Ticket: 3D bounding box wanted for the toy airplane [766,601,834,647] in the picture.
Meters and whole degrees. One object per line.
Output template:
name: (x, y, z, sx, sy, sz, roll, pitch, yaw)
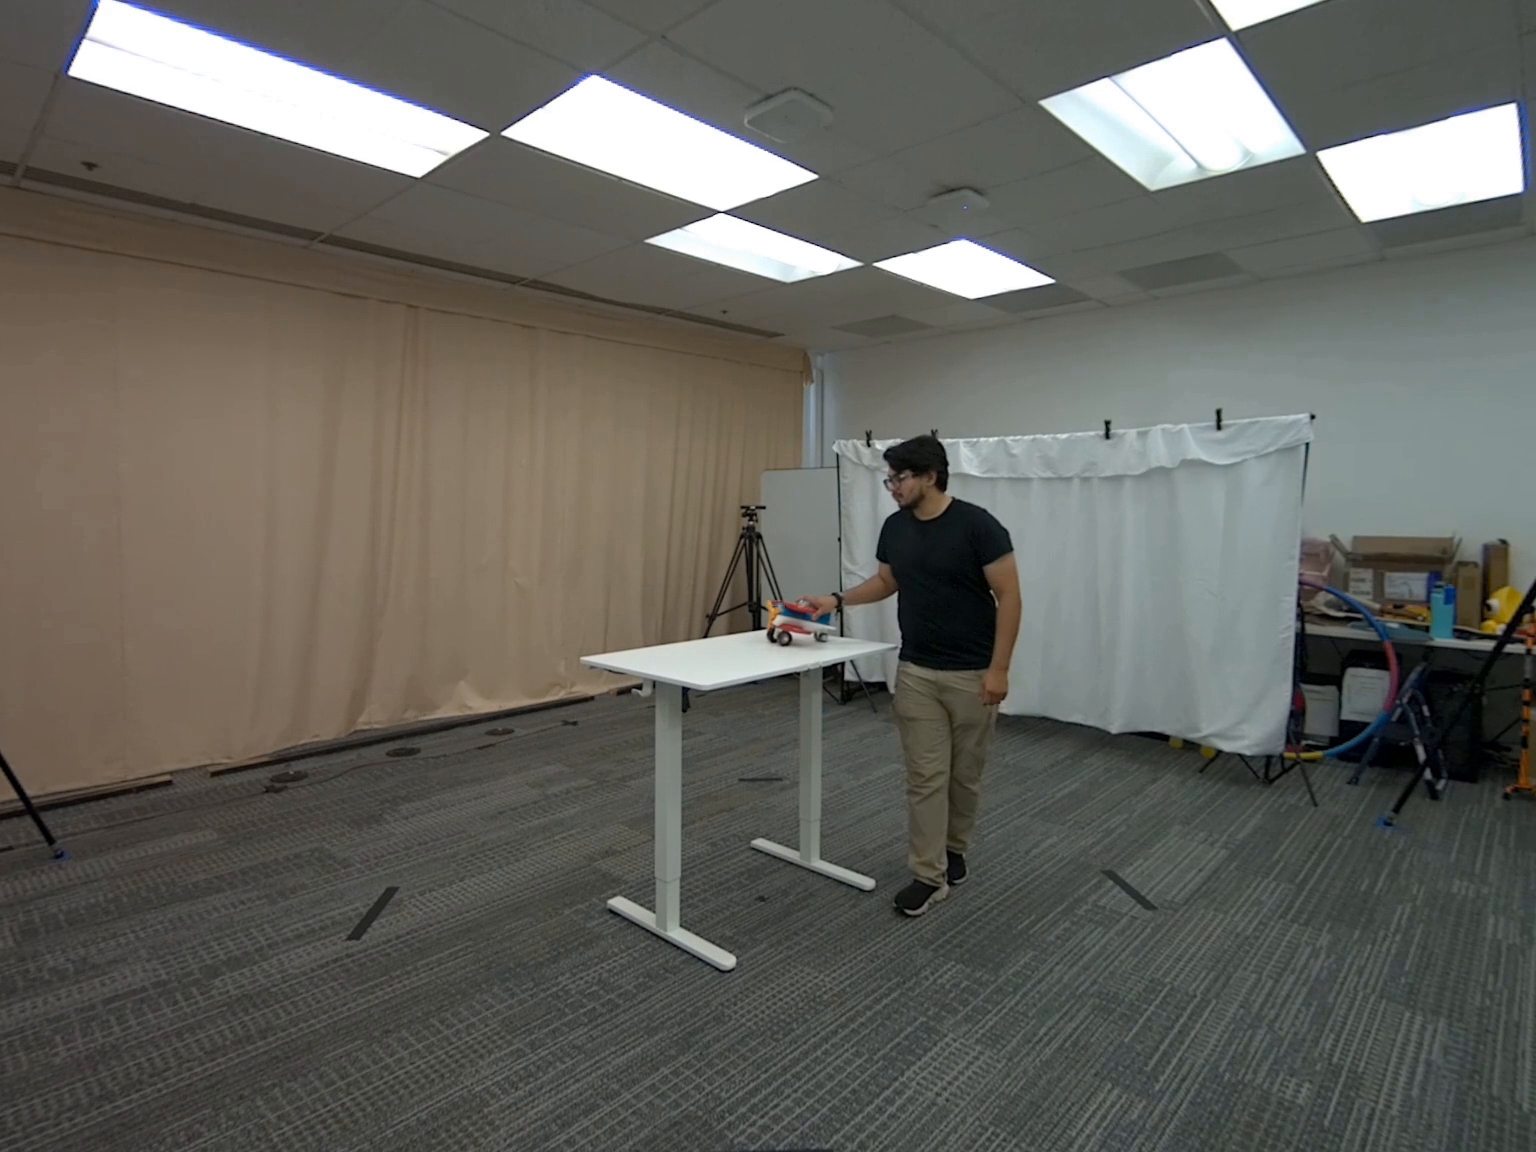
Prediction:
toy airplane: (0.115, 0.174, 3.146, 0.259, 0.156, 0.251, 5, 7, 39)
